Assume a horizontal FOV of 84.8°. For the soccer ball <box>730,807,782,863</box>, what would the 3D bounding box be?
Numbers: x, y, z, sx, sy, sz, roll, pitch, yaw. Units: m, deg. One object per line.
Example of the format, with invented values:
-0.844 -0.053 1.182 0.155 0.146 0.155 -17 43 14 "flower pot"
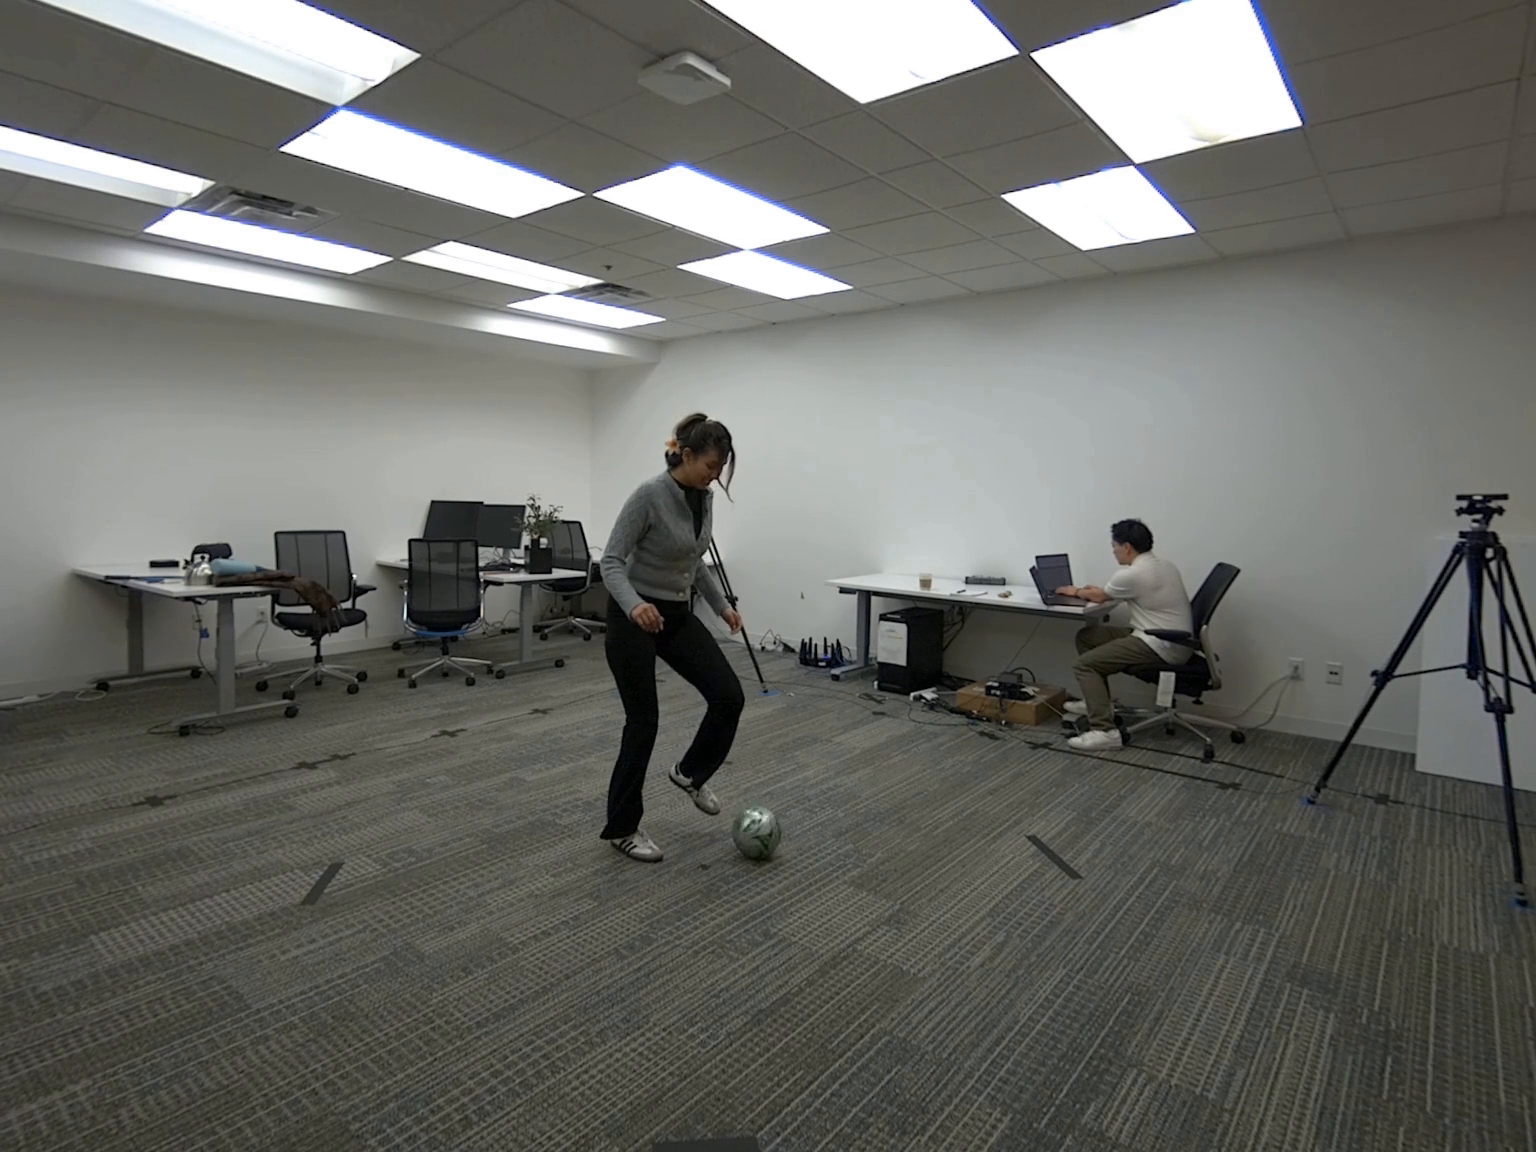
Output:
-0.048 0.966 3.209 0.187 0.187 0.188 1 4 -2 "soccer ball"
